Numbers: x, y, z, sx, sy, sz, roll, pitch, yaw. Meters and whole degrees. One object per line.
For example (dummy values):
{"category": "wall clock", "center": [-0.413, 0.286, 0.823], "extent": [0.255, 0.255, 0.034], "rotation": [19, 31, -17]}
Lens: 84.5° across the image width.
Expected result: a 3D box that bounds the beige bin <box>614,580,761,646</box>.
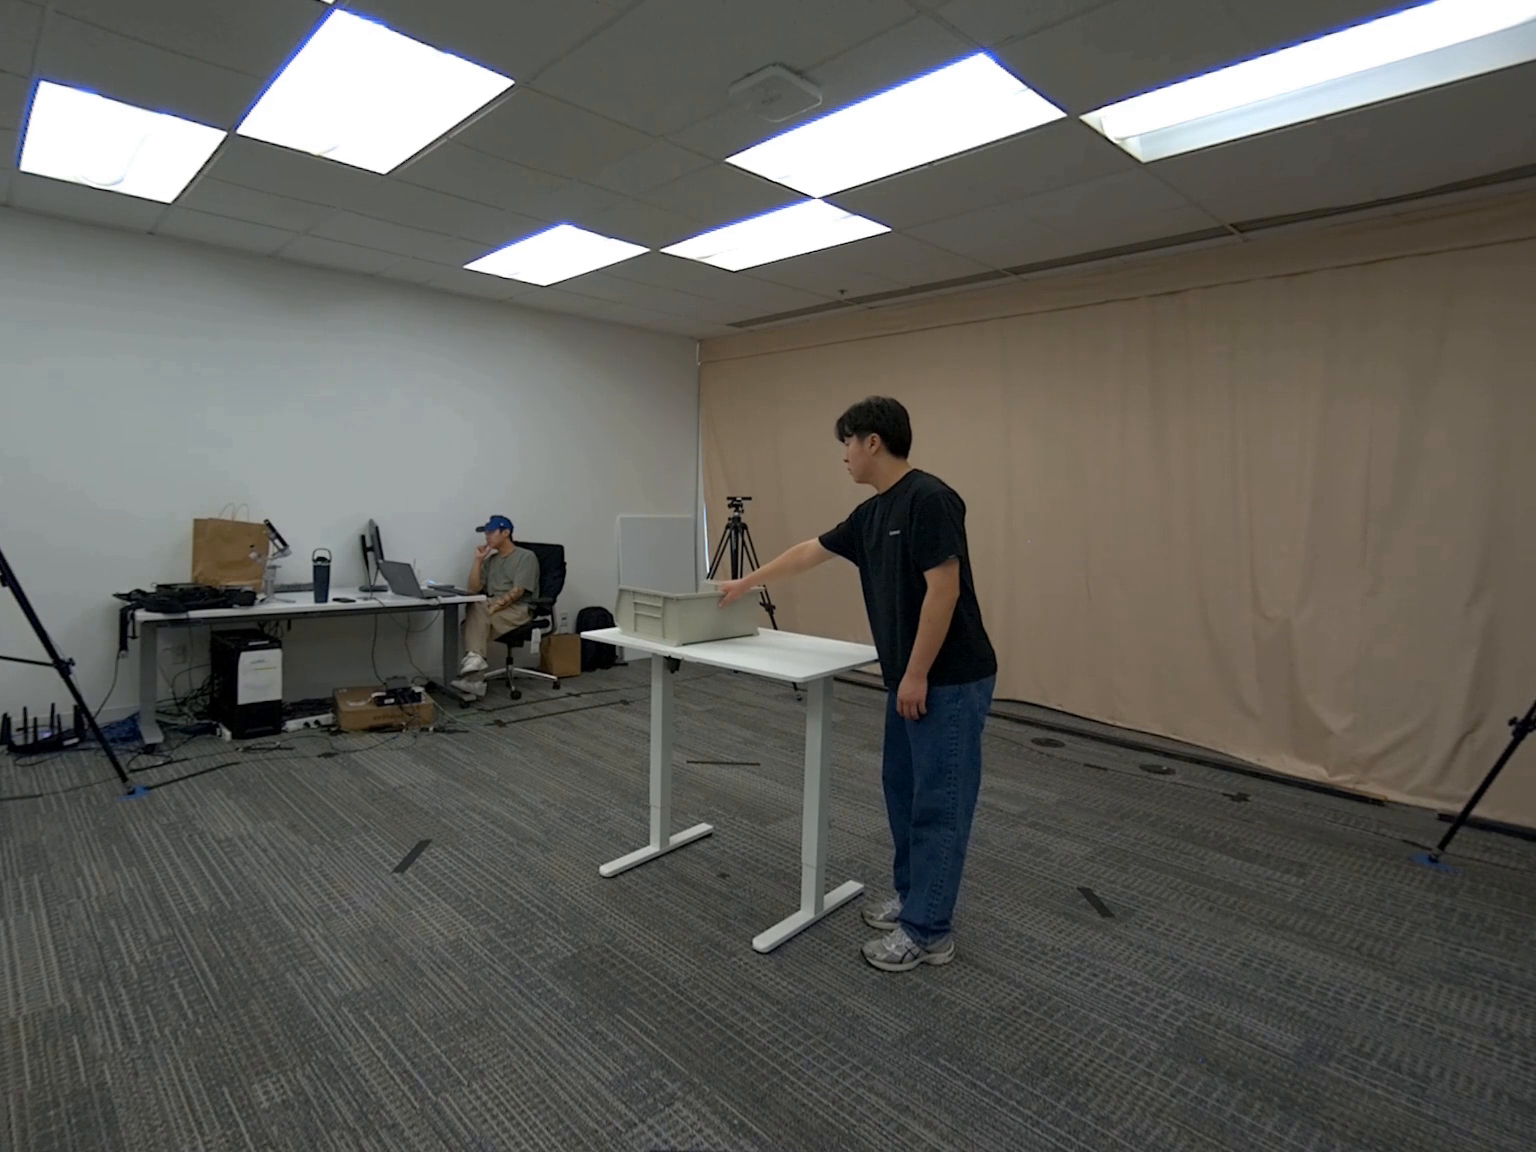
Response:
{"category": "beige bin", "center": [-0.296, 0.131, 3.114], "extent": [0.413, 0.188, 0.387], "rotation": [-3, 8, -44]}
